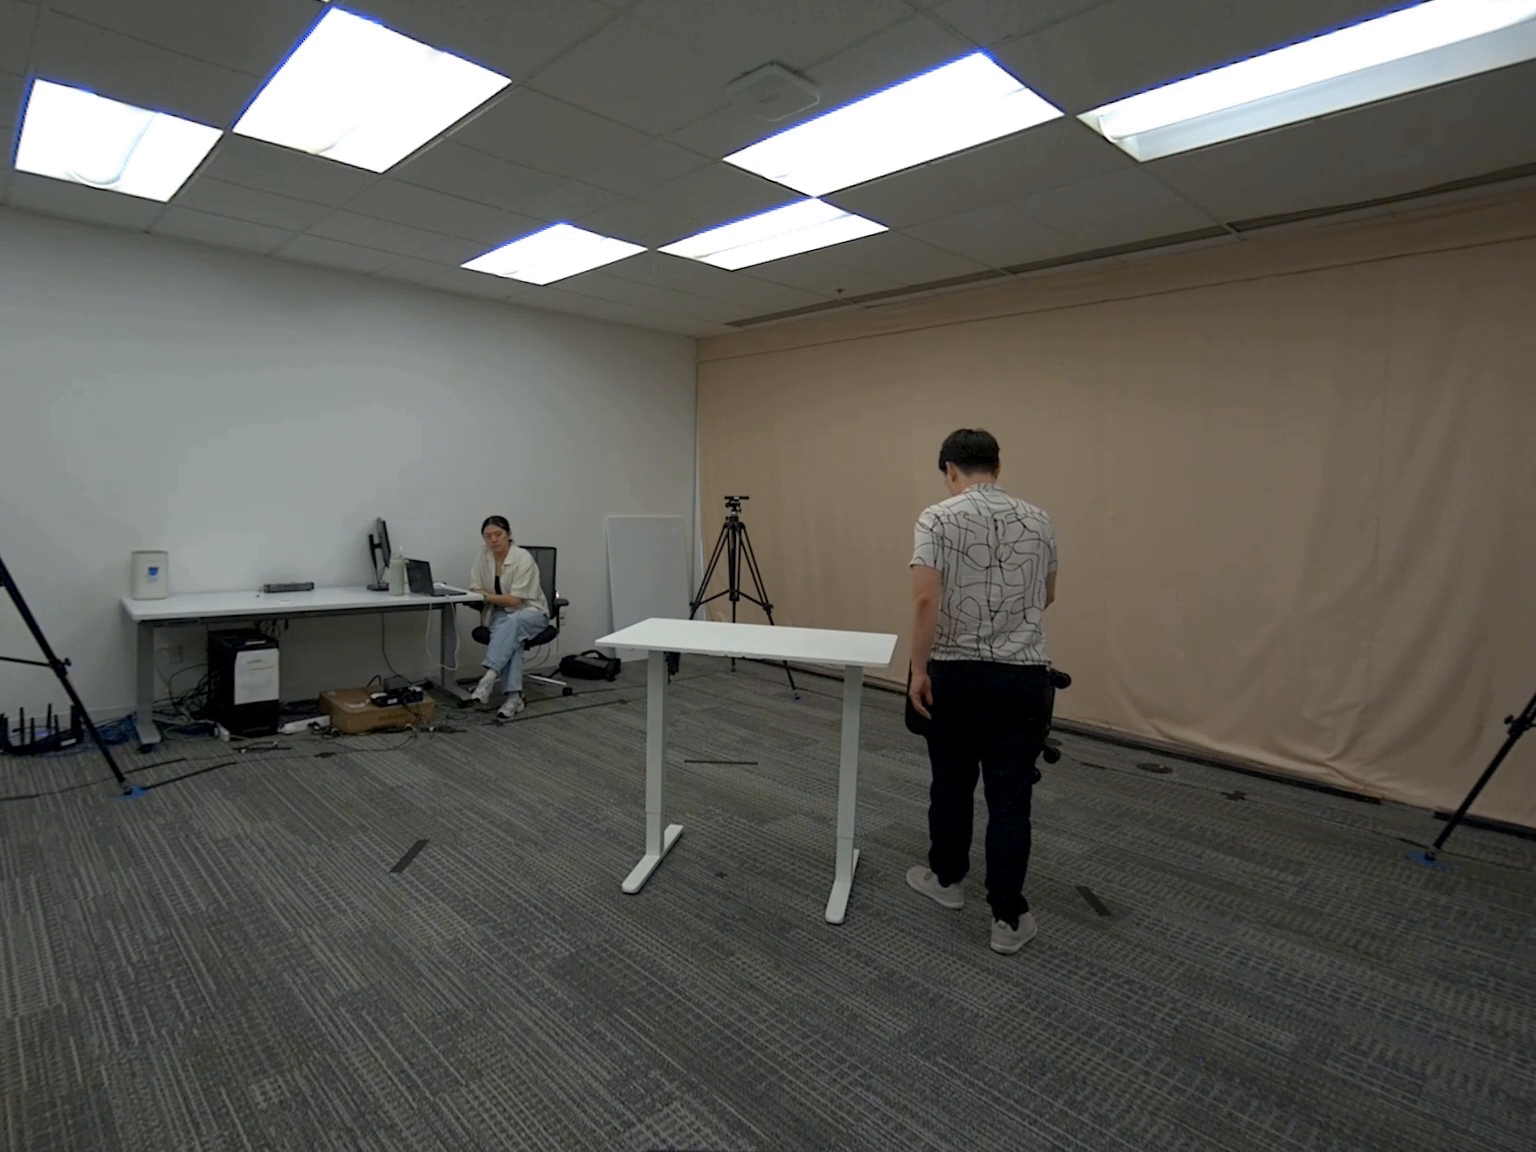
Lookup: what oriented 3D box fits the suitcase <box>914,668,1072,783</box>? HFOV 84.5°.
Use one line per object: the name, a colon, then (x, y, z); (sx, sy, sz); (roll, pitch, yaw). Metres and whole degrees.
suitcase: (0.796, 0.468, 3.145); (0.564, 0.372, 0.244); (15, 17, 35)
